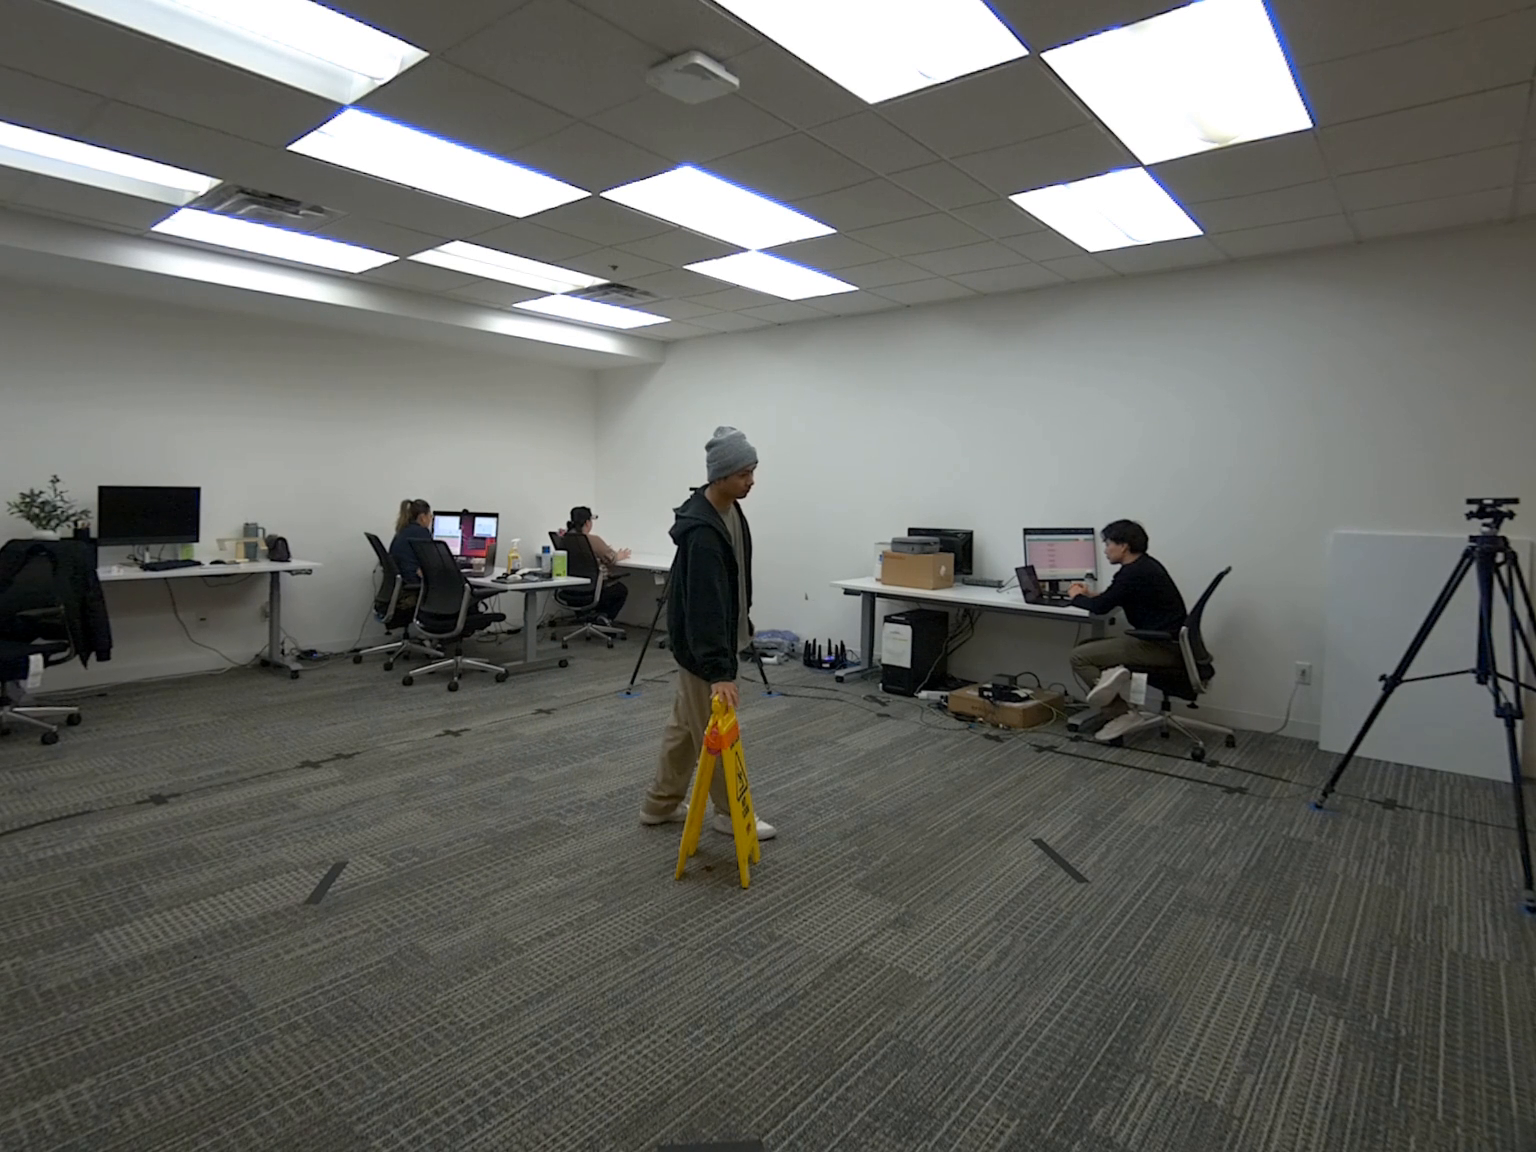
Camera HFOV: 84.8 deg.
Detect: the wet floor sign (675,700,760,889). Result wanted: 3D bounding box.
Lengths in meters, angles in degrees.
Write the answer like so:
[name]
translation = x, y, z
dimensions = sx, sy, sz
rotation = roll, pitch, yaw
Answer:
[wet floor sign]
translation = -0.179, 0.740, 3.098
dimensions = 0.293, 0.644, 0.280
rotation = 3, 4, 10
